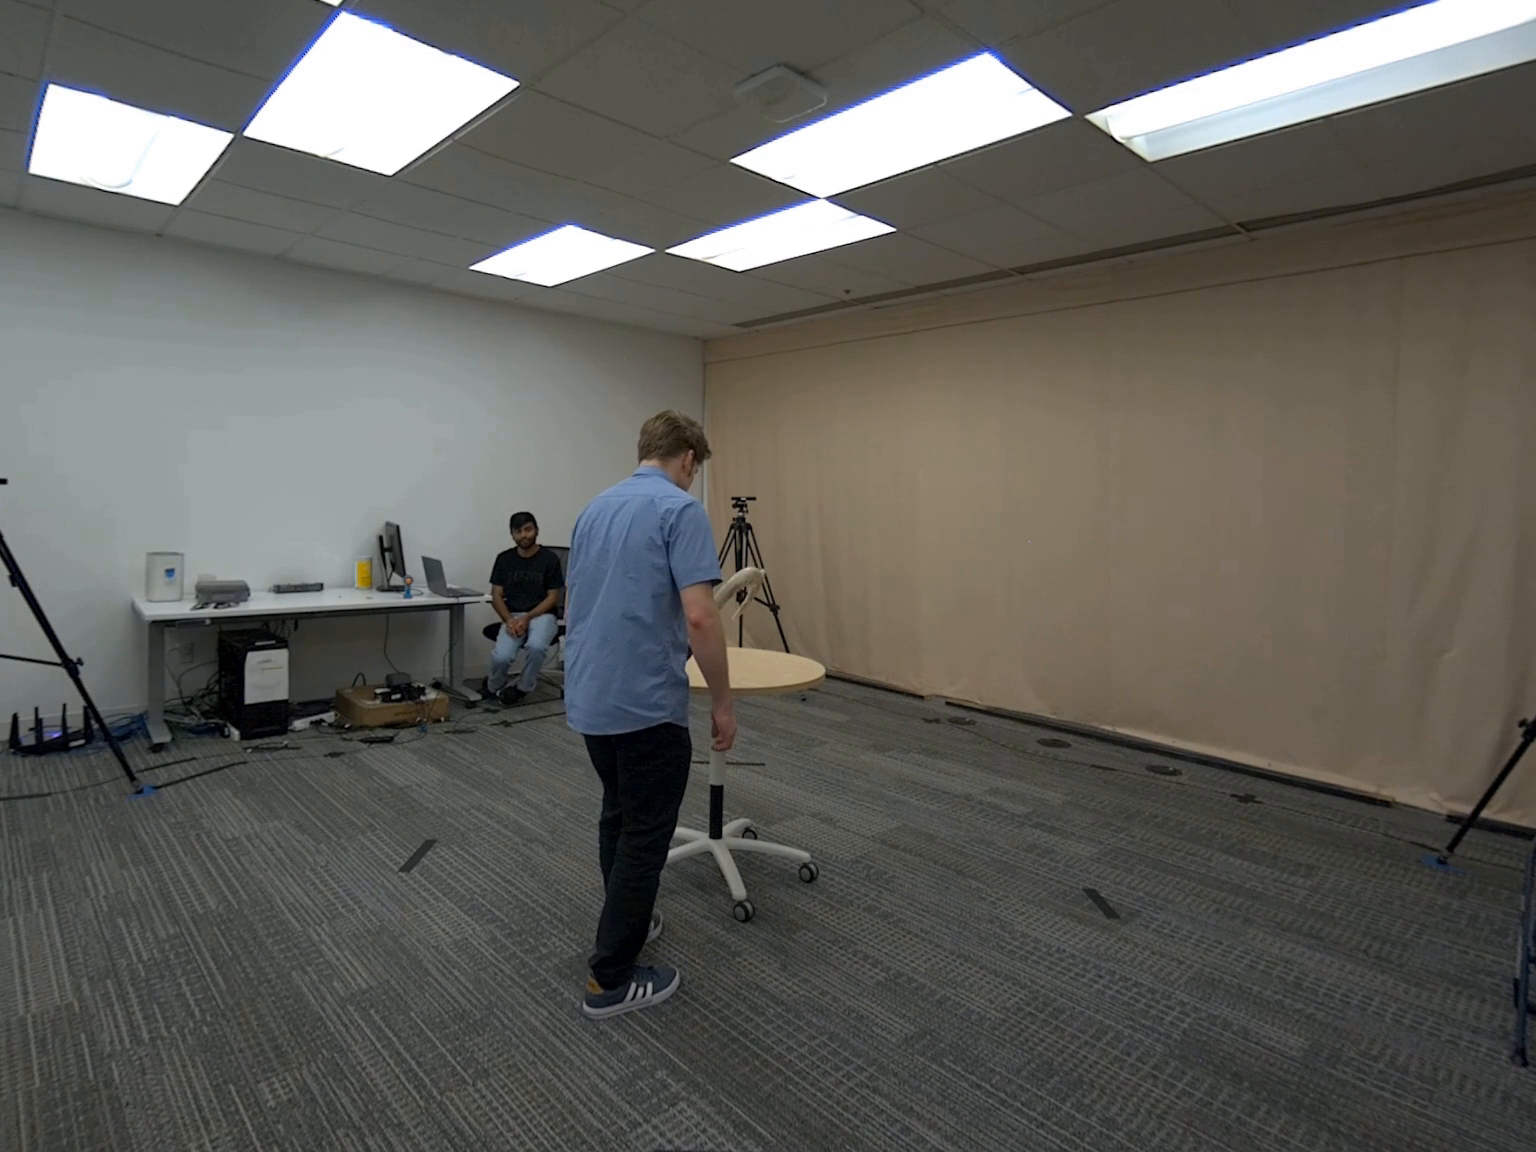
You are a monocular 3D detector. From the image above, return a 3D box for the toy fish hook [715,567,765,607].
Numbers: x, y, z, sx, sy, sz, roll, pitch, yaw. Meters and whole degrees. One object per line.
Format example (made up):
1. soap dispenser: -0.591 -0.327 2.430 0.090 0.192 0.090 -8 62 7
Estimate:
1. toy fish hook: -0.184 0.182 2.599 0.049 0.506 0.219 43 11 26
